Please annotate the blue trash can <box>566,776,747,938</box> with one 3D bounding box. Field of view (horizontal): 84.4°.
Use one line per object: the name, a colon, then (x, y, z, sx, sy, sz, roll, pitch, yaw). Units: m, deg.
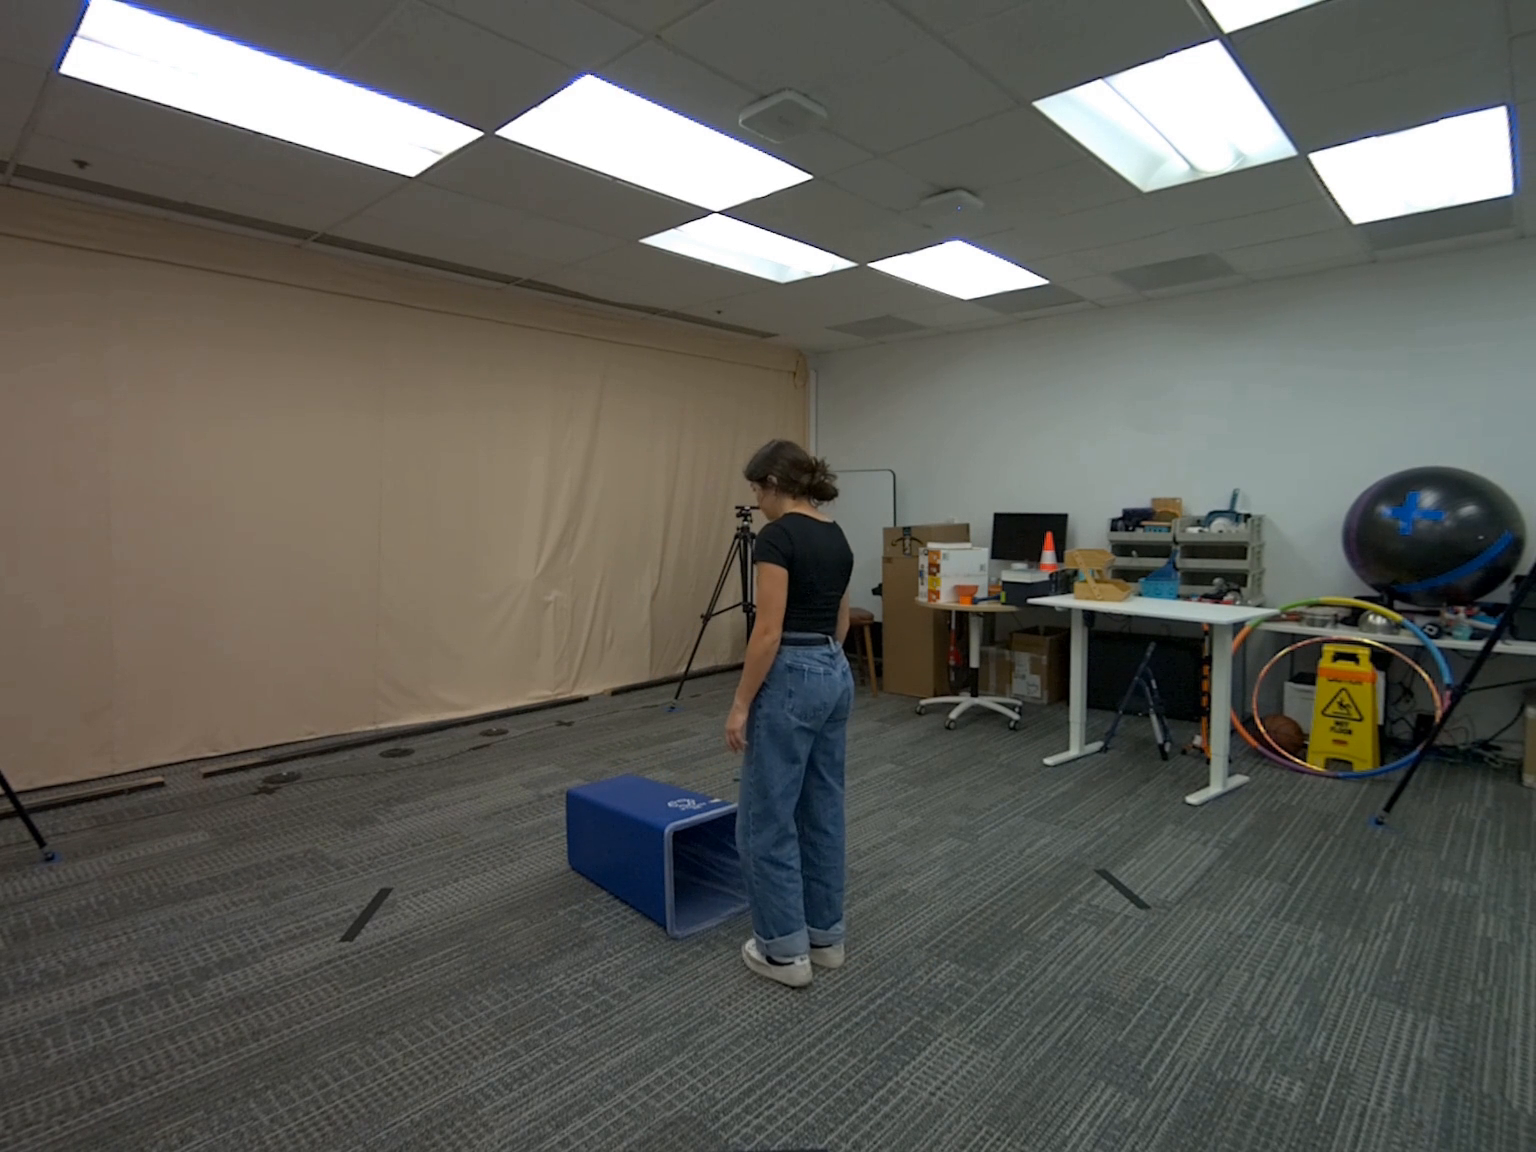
blue trash can: (-0.429, 0.974, 3.072, 0.363, 0.378, 0.736, -4, 3, -43)
